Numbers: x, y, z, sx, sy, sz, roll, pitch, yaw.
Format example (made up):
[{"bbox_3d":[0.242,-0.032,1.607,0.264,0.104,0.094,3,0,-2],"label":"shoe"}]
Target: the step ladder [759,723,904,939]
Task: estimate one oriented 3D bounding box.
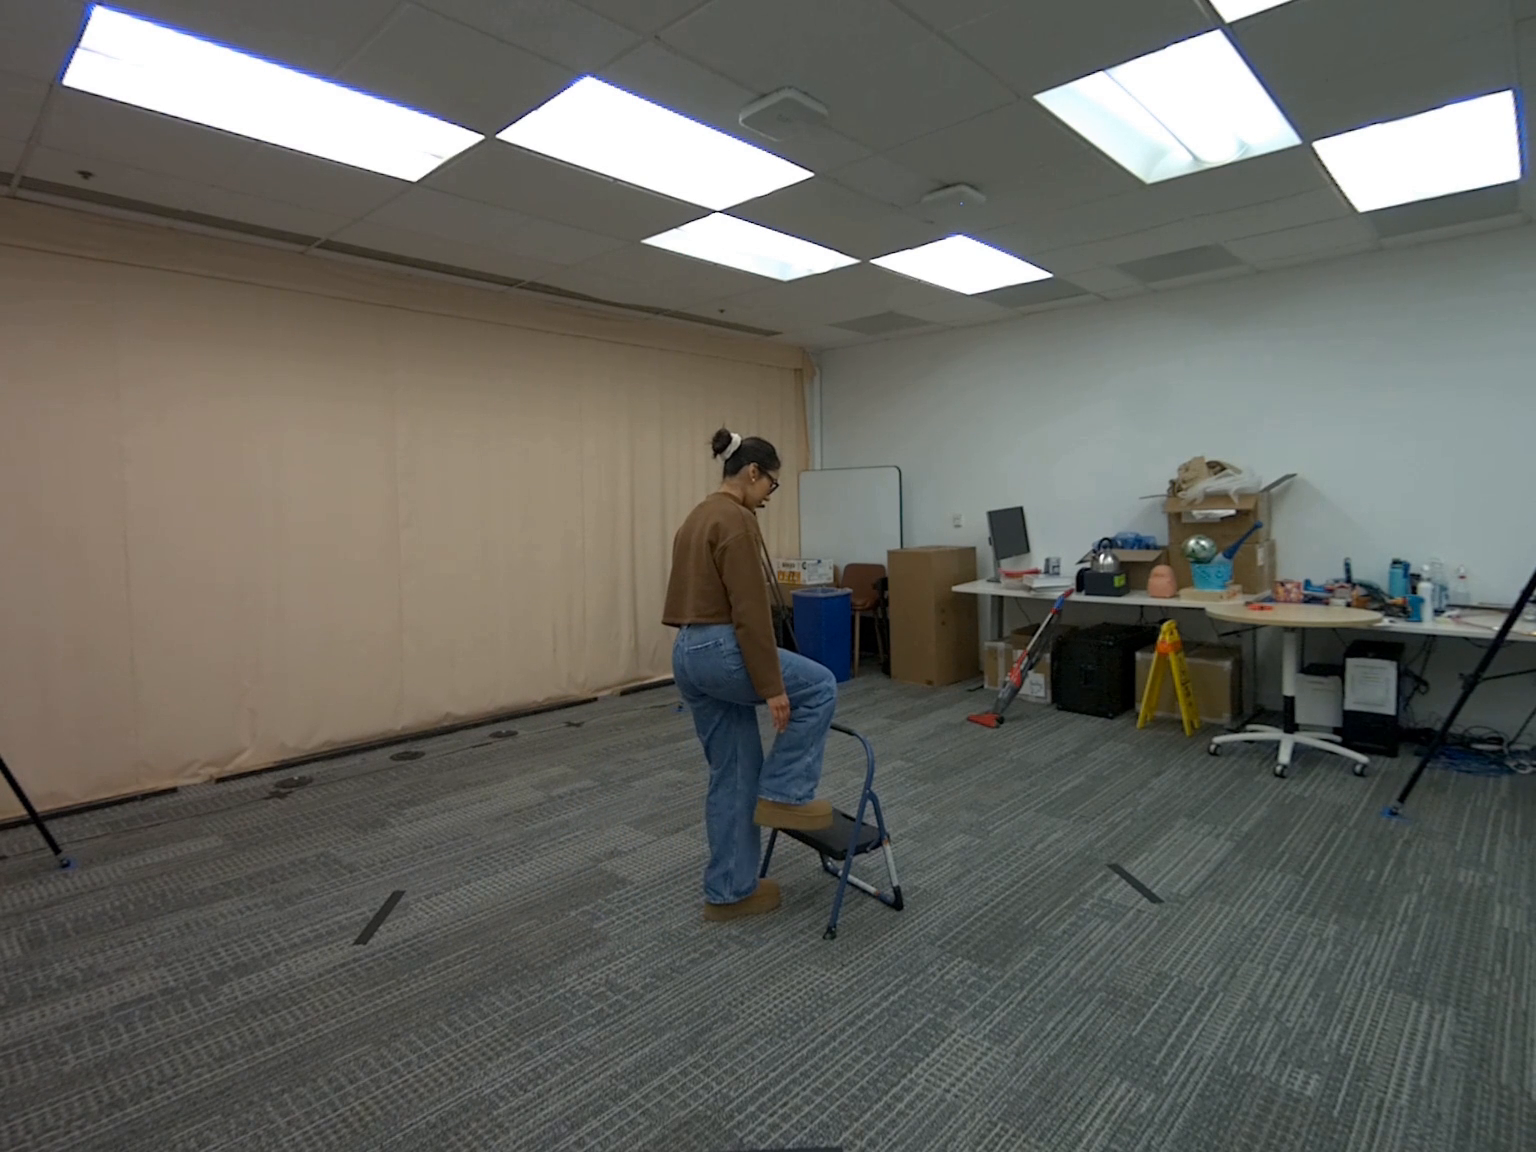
[{"bbox_3d":[0.209,0.835,2.938,0.339,0.605,0.444,-3,4,-35],"label":"step ladder"}]
